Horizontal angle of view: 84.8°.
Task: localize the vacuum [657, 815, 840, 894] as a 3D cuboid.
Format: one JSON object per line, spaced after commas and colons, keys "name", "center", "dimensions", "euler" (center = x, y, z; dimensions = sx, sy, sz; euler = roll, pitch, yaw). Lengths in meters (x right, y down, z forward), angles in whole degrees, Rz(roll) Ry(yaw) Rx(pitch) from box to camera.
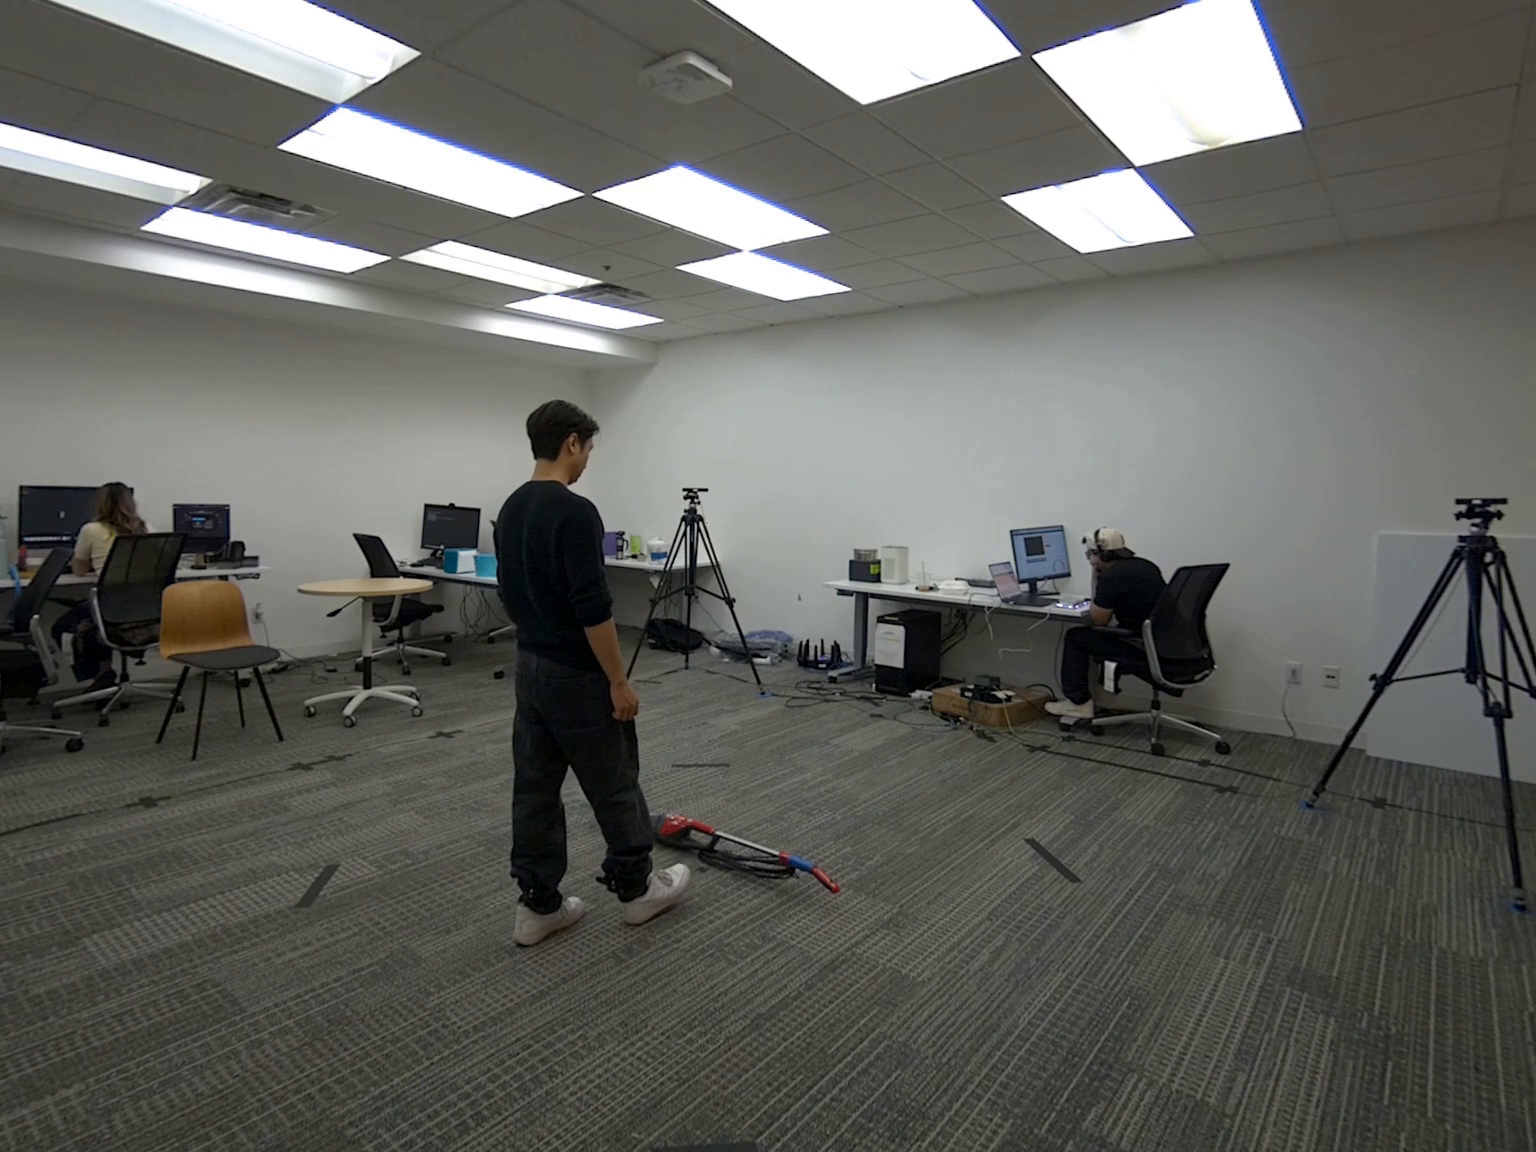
{"name": "vacuum", "center": [-0.201, 1.004, 3.172], "dimensions": [1.085, 0.143, 0.245], "euler": [7, 10, 39]}
